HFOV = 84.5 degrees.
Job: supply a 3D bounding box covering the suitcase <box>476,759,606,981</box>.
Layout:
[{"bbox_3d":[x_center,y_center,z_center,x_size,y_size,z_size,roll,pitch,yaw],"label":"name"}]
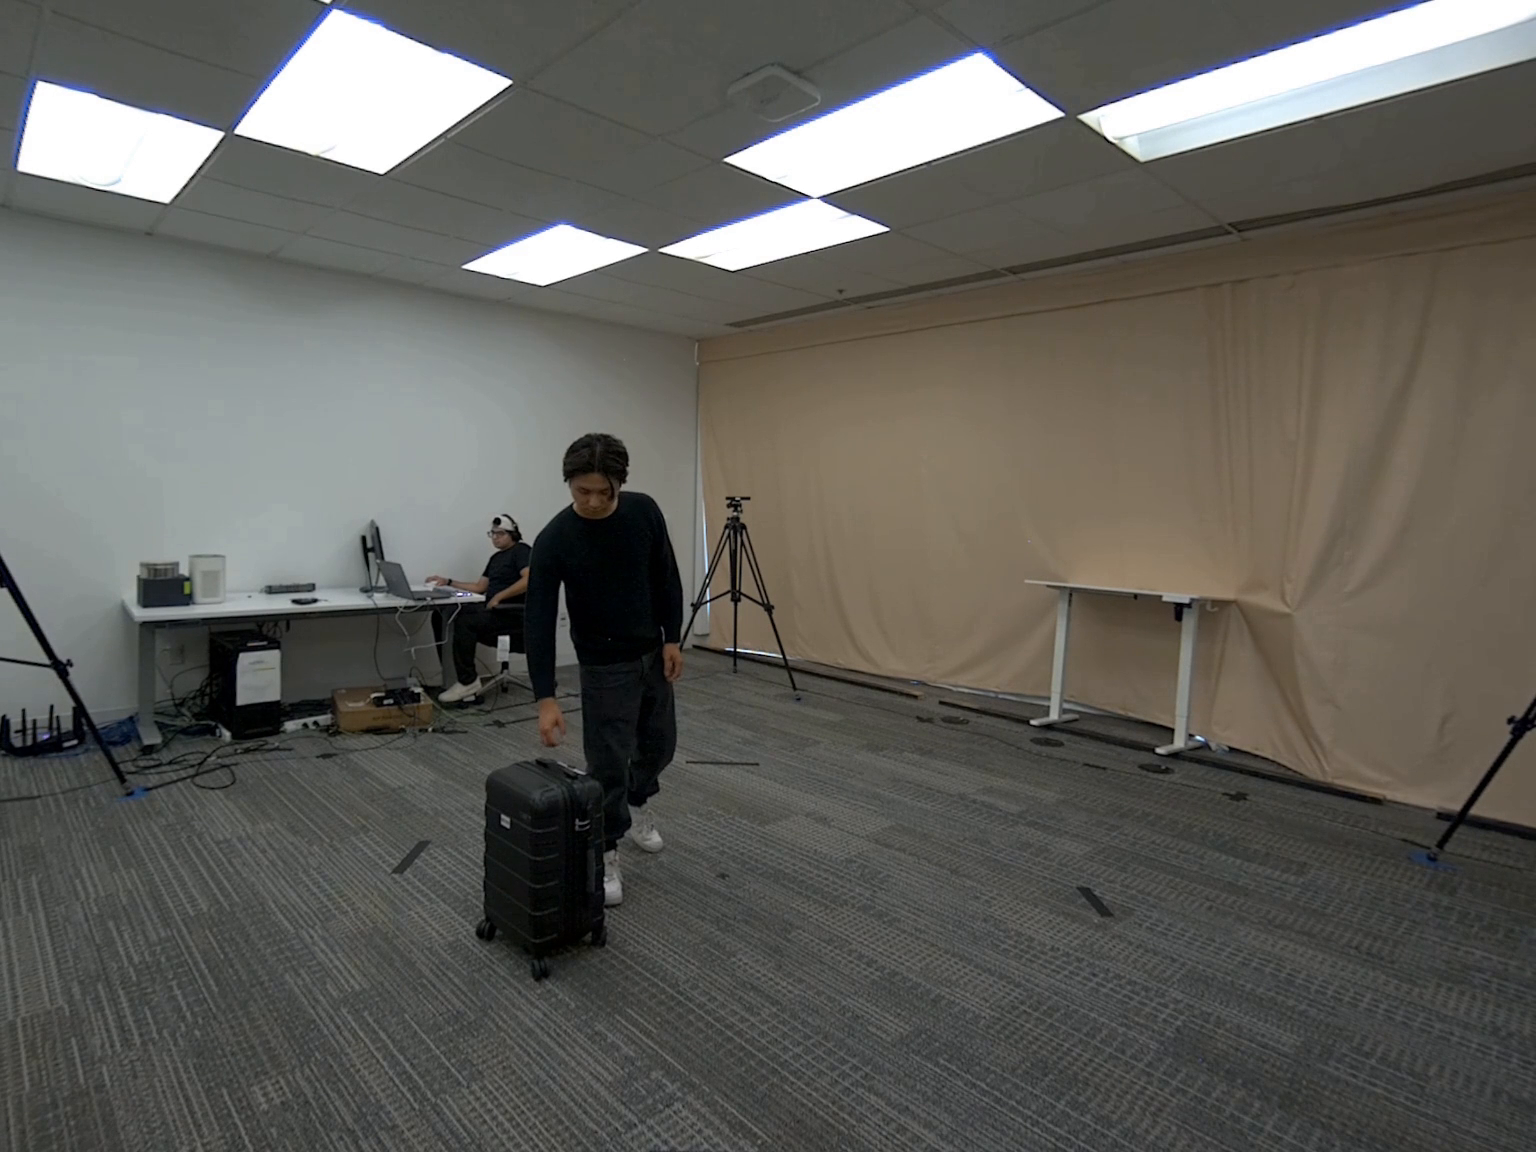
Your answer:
[{"bbox_3d":[-0.707,0.869,2.598,0.242,0.548,0.385,-2,5,-44],"label":"suitcase"}]
